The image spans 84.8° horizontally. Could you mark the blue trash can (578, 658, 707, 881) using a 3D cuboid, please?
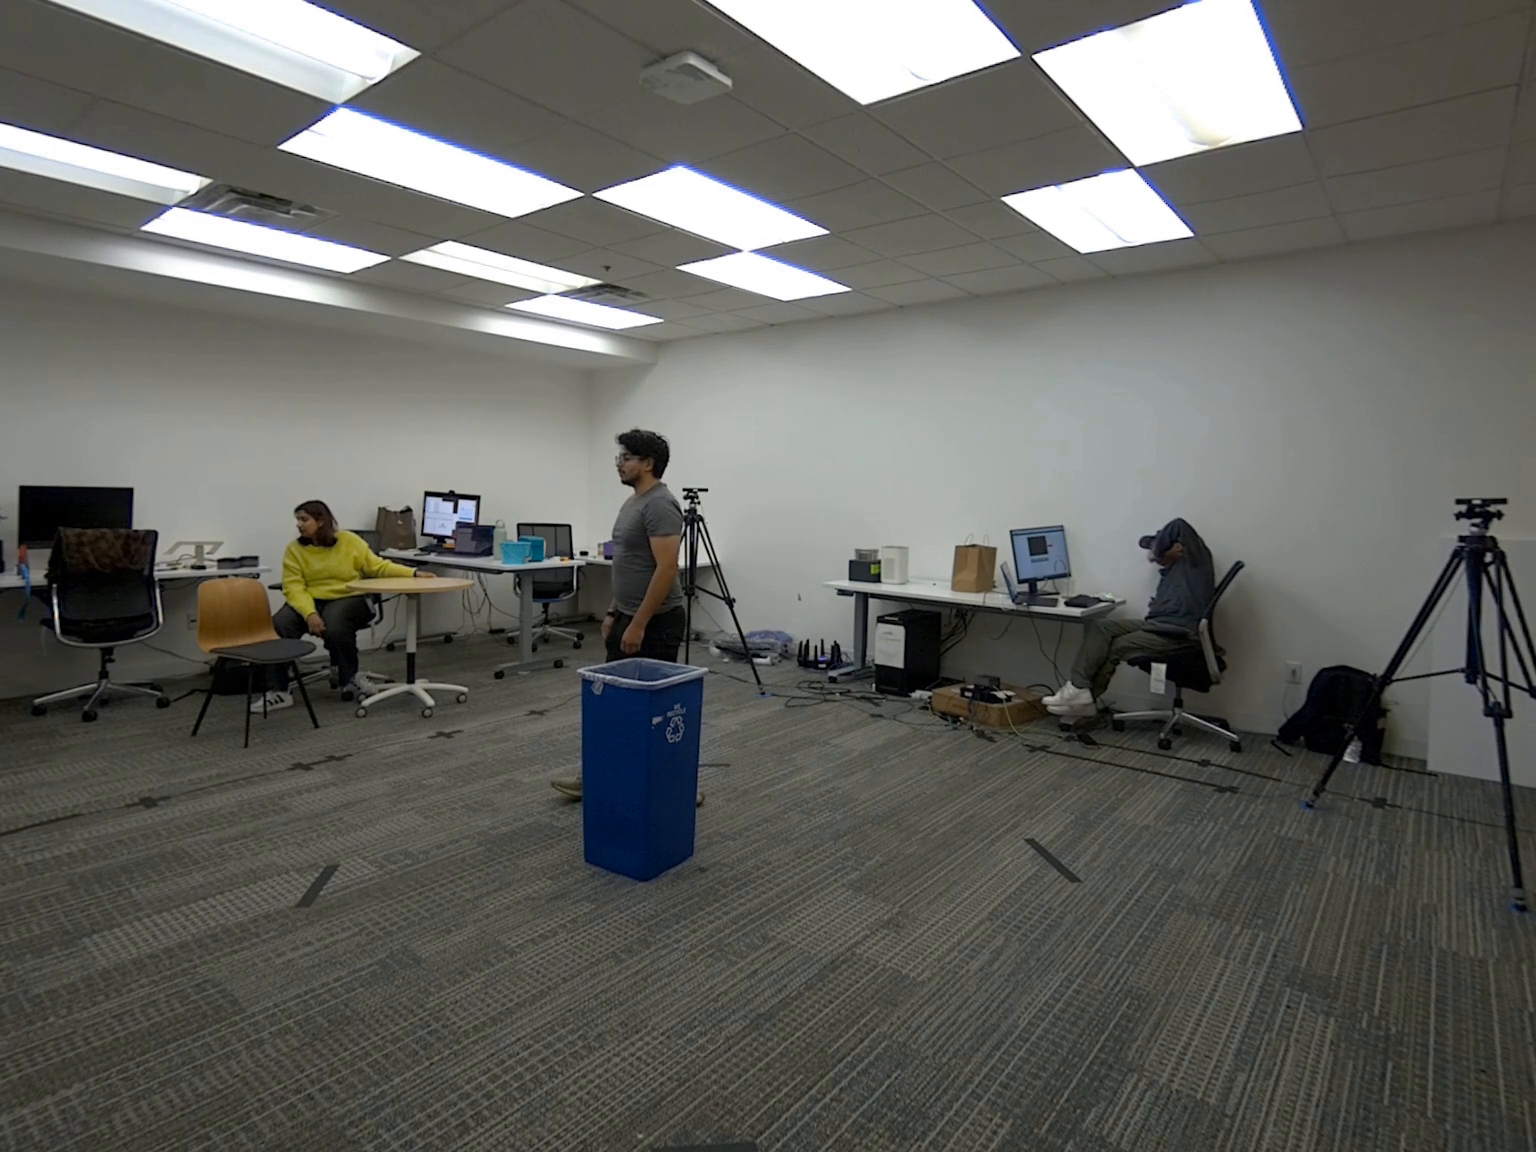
[{"bbox_3d":[-0.480,0.699,3.189,0.390,0.712,0.364,3,3,33],"label":"blue trash can"}]
